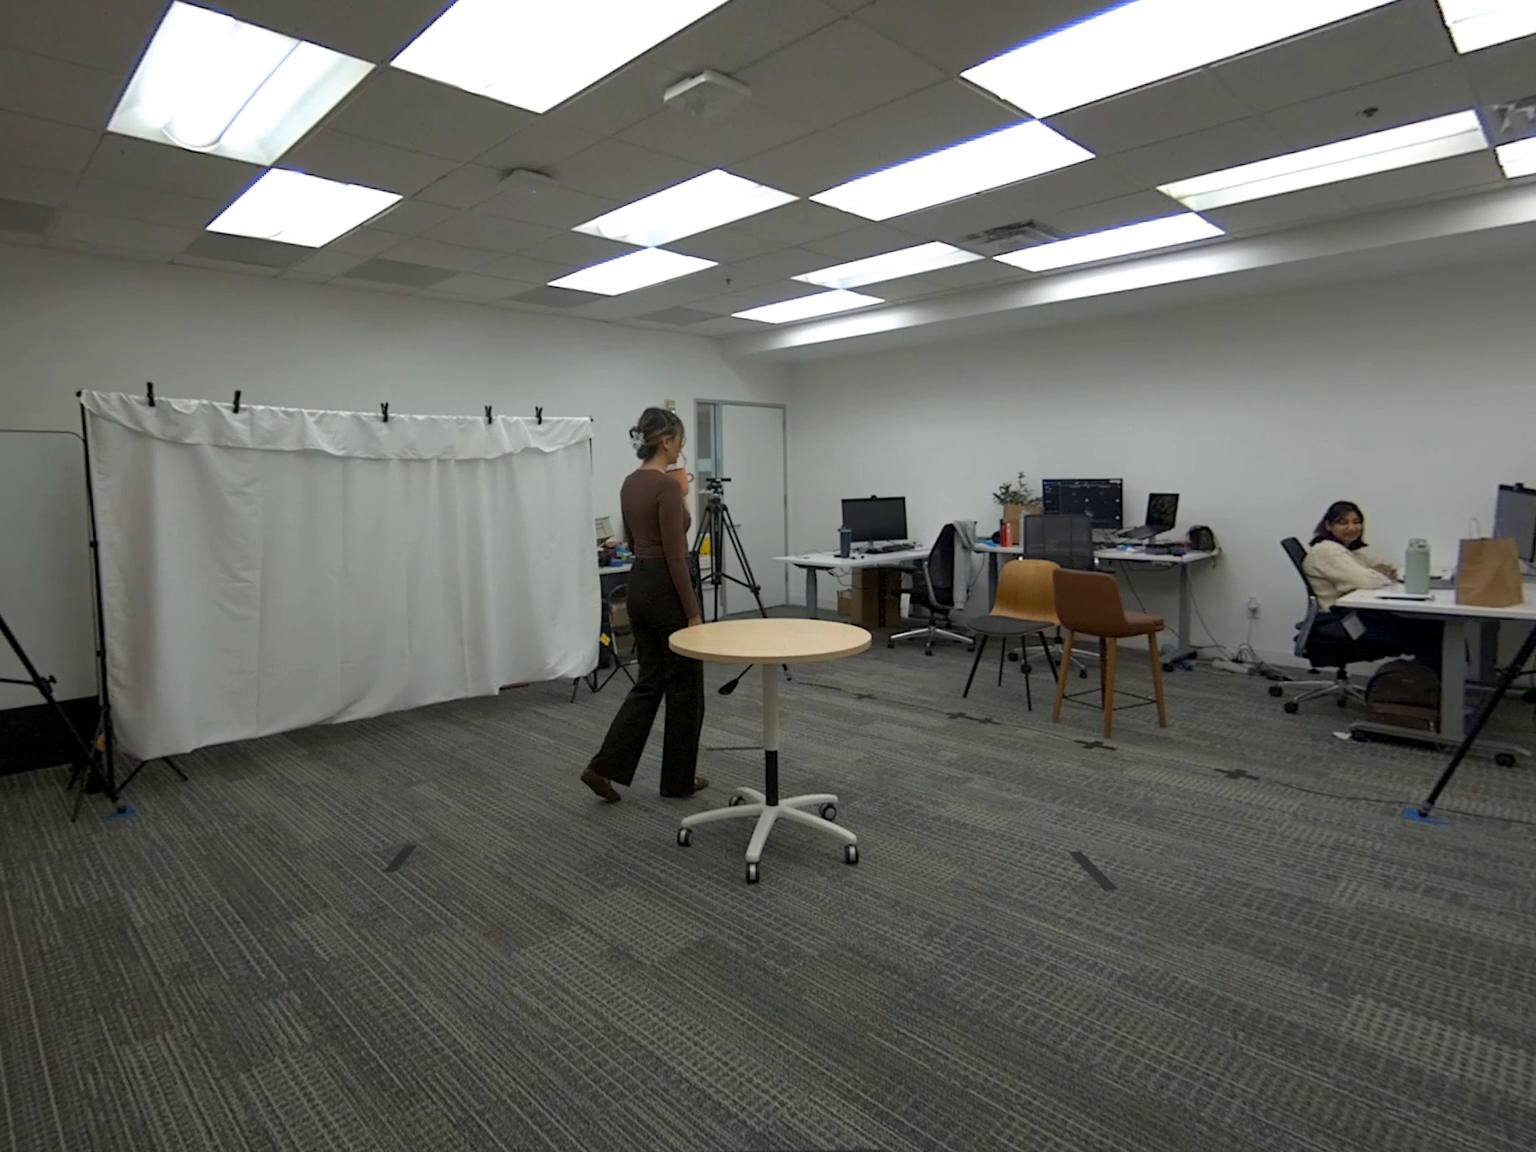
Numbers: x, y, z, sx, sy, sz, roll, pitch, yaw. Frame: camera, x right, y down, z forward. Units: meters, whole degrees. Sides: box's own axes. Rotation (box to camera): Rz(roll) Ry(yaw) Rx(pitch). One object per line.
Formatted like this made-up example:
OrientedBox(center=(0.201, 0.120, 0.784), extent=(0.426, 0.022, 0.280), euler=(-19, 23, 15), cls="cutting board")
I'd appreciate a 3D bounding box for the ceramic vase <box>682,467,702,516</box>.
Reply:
OrientedBox(center=(-0.442, -0.398, 4.106), extent=(0.163, 0.217, 0.133), euler=(-2, 14, 33), cls="ceramic vase")
